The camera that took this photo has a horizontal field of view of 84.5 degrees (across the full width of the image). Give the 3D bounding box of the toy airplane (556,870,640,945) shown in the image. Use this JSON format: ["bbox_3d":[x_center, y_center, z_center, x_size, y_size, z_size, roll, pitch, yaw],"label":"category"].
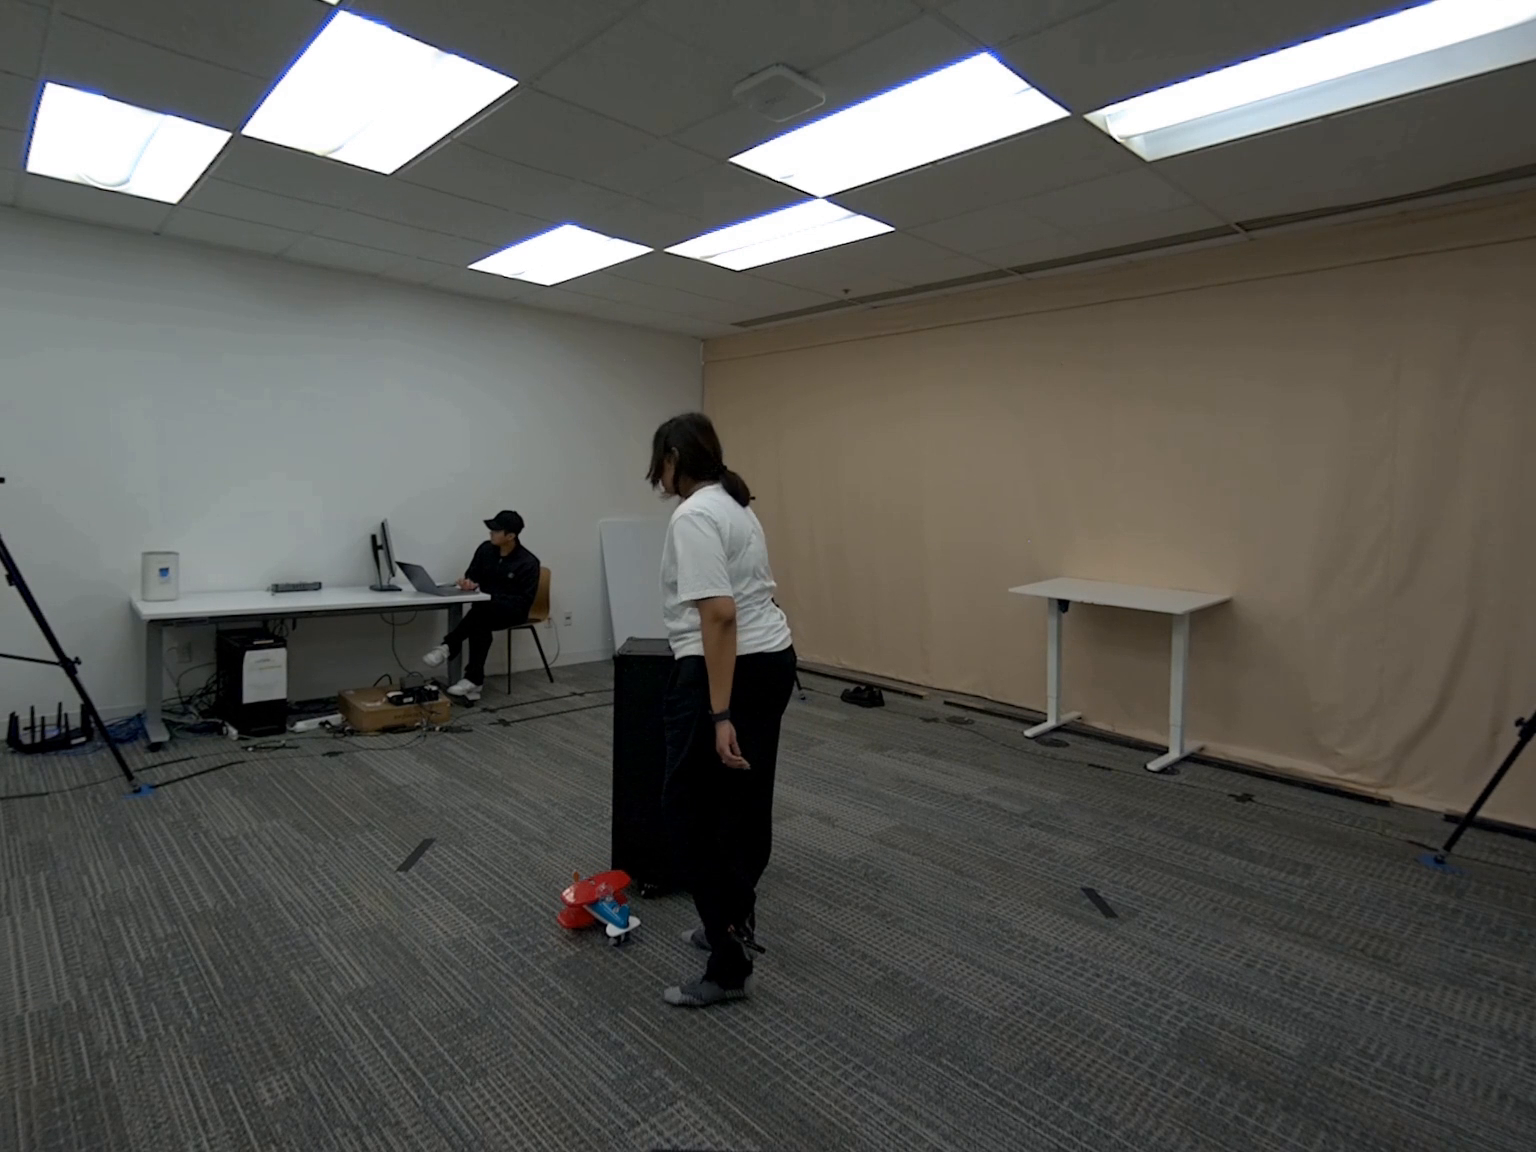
[{"bbox_3d":[-0.539,1.066,2.688,0.262,0.156,0.249,1,5,12],"label":"toy airplane"}]
